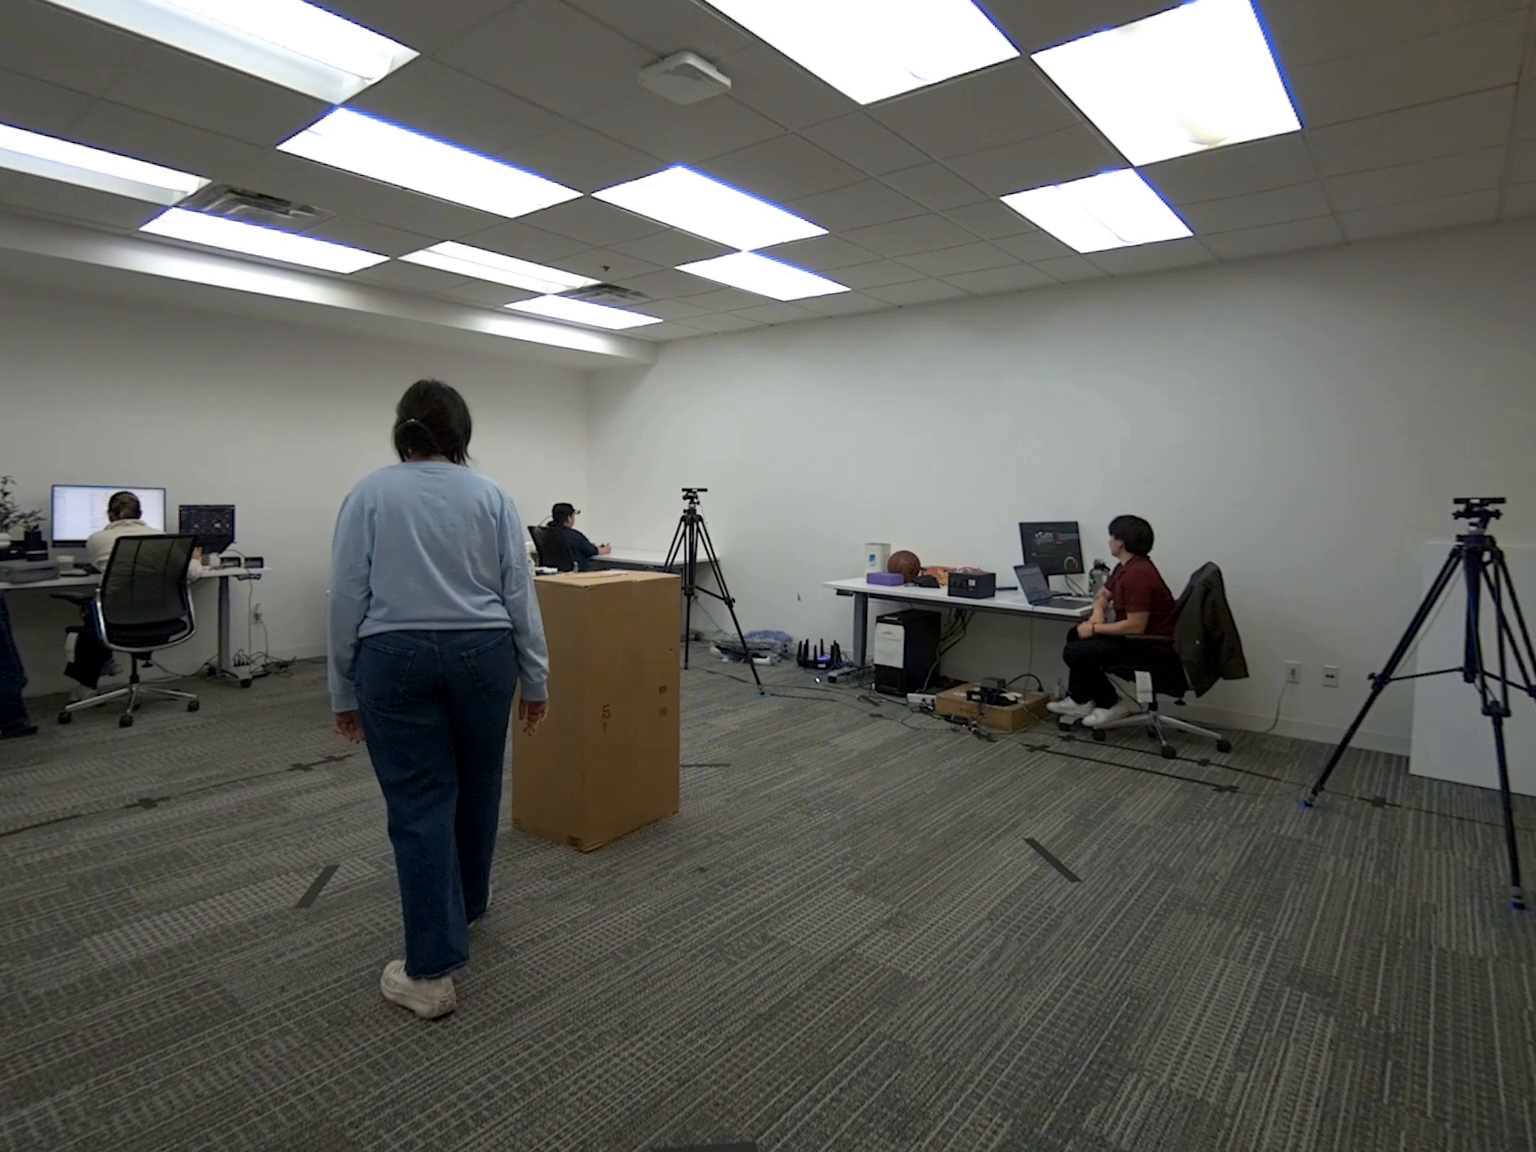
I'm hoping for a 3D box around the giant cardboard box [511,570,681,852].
[{"bbox_3d":[-0.720,0.511,3.557,0.440,1.023,0.561,3,4,35],"label":"giant cardboard box"}]
